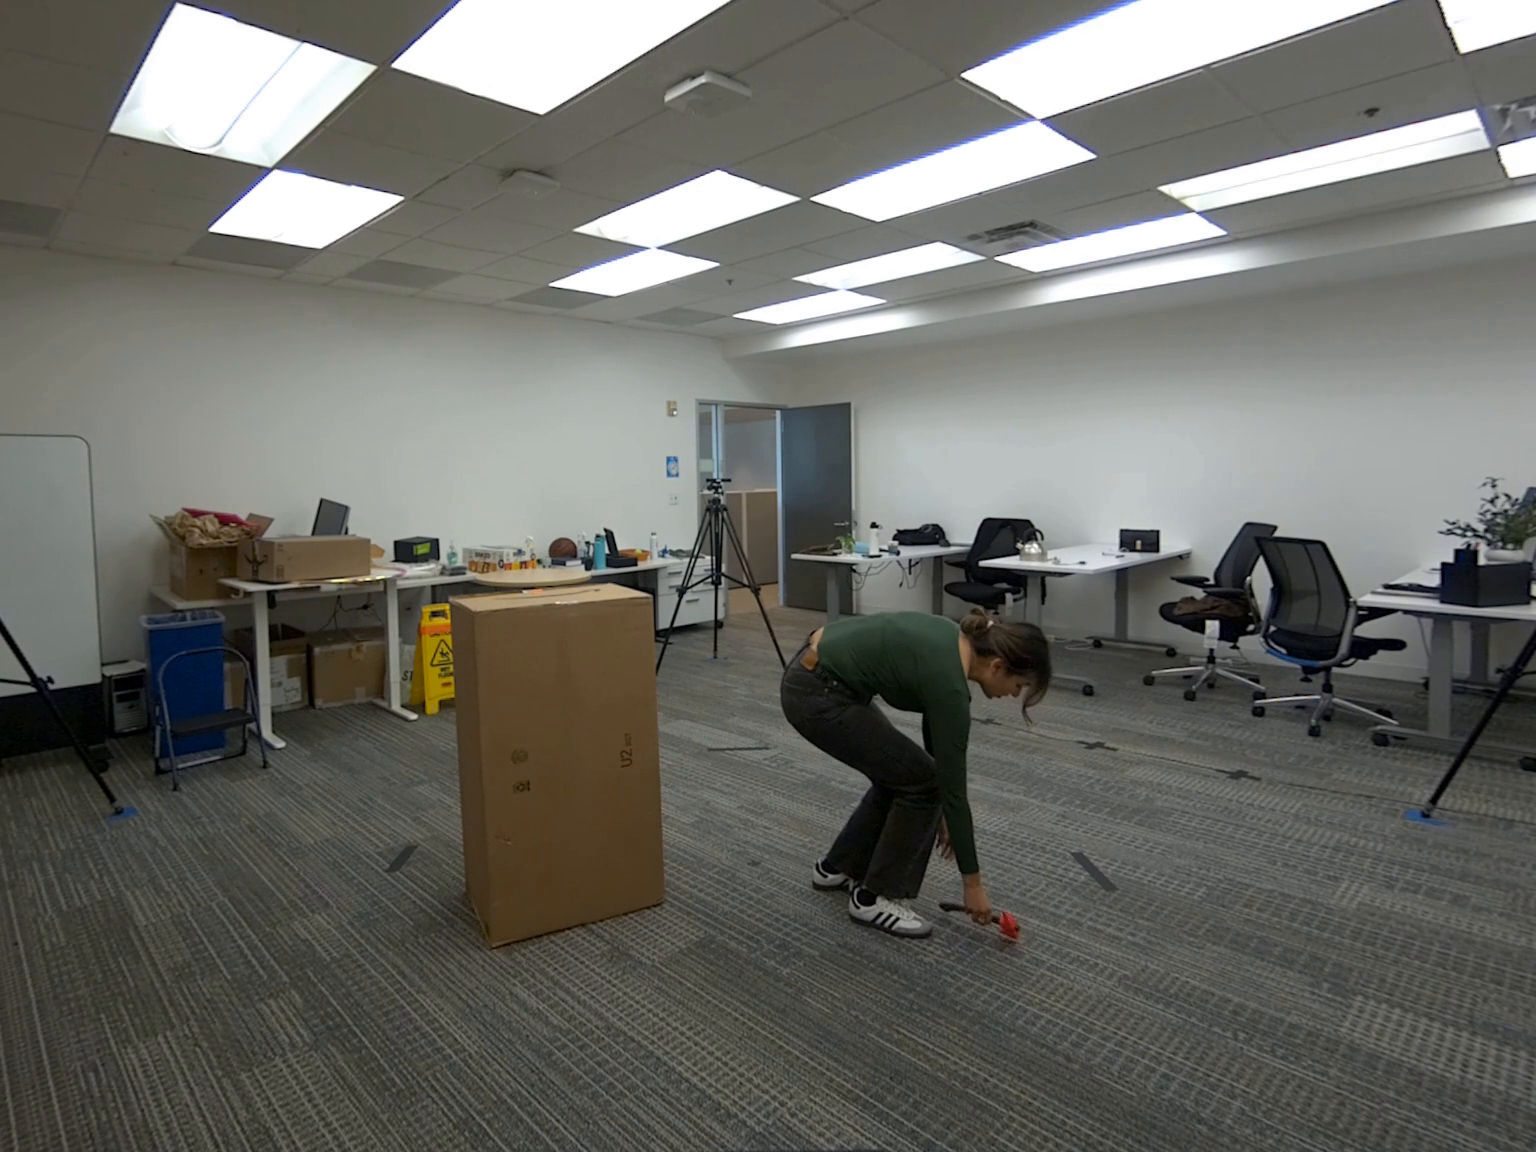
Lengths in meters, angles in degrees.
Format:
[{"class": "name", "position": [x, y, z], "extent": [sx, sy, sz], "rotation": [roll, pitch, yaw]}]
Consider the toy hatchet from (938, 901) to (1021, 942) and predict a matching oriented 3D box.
[{"class": "toy hatchet", "position": [0.662, 1.042, 2.617], "extent": [0.274, 0.129, 0.030], "rotation": [-21, 26, 53]}]
